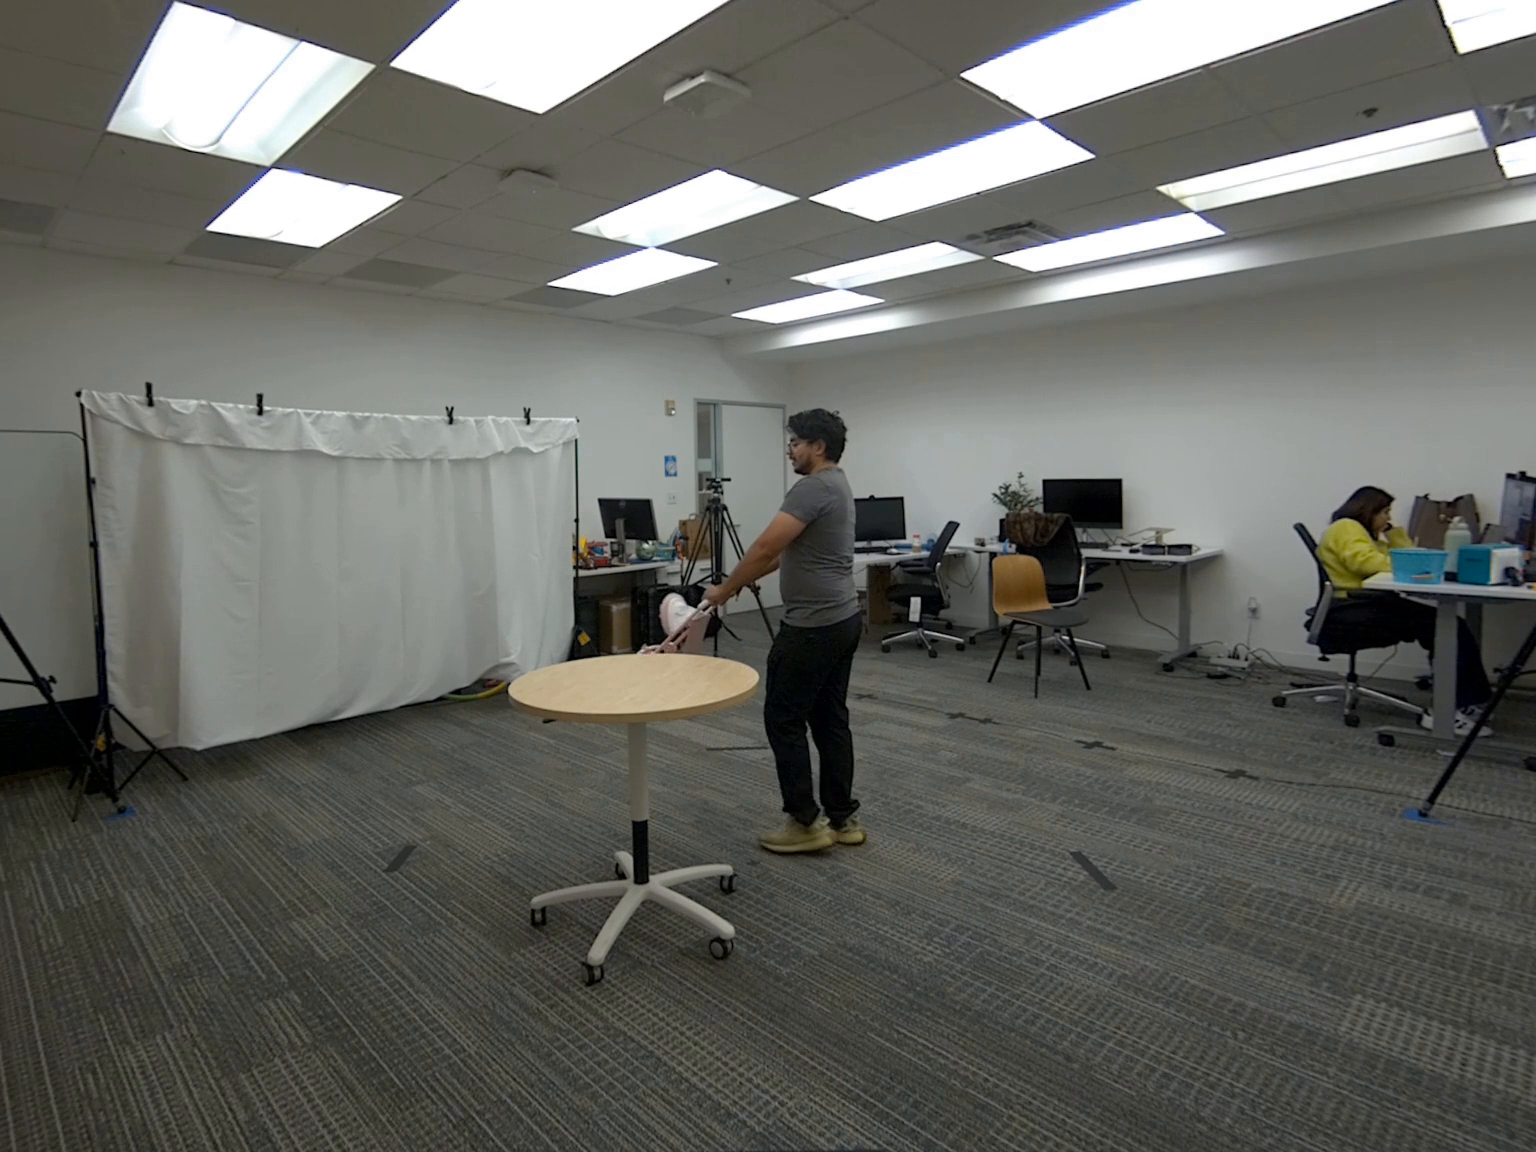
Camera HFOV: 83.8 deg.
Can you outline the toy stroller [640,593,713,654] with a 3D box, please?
[{"bbox_3d":[-0.362,0.313,3.439,0.350,0.531,0.276,8,9,24],"label":"toy stroller"}]
